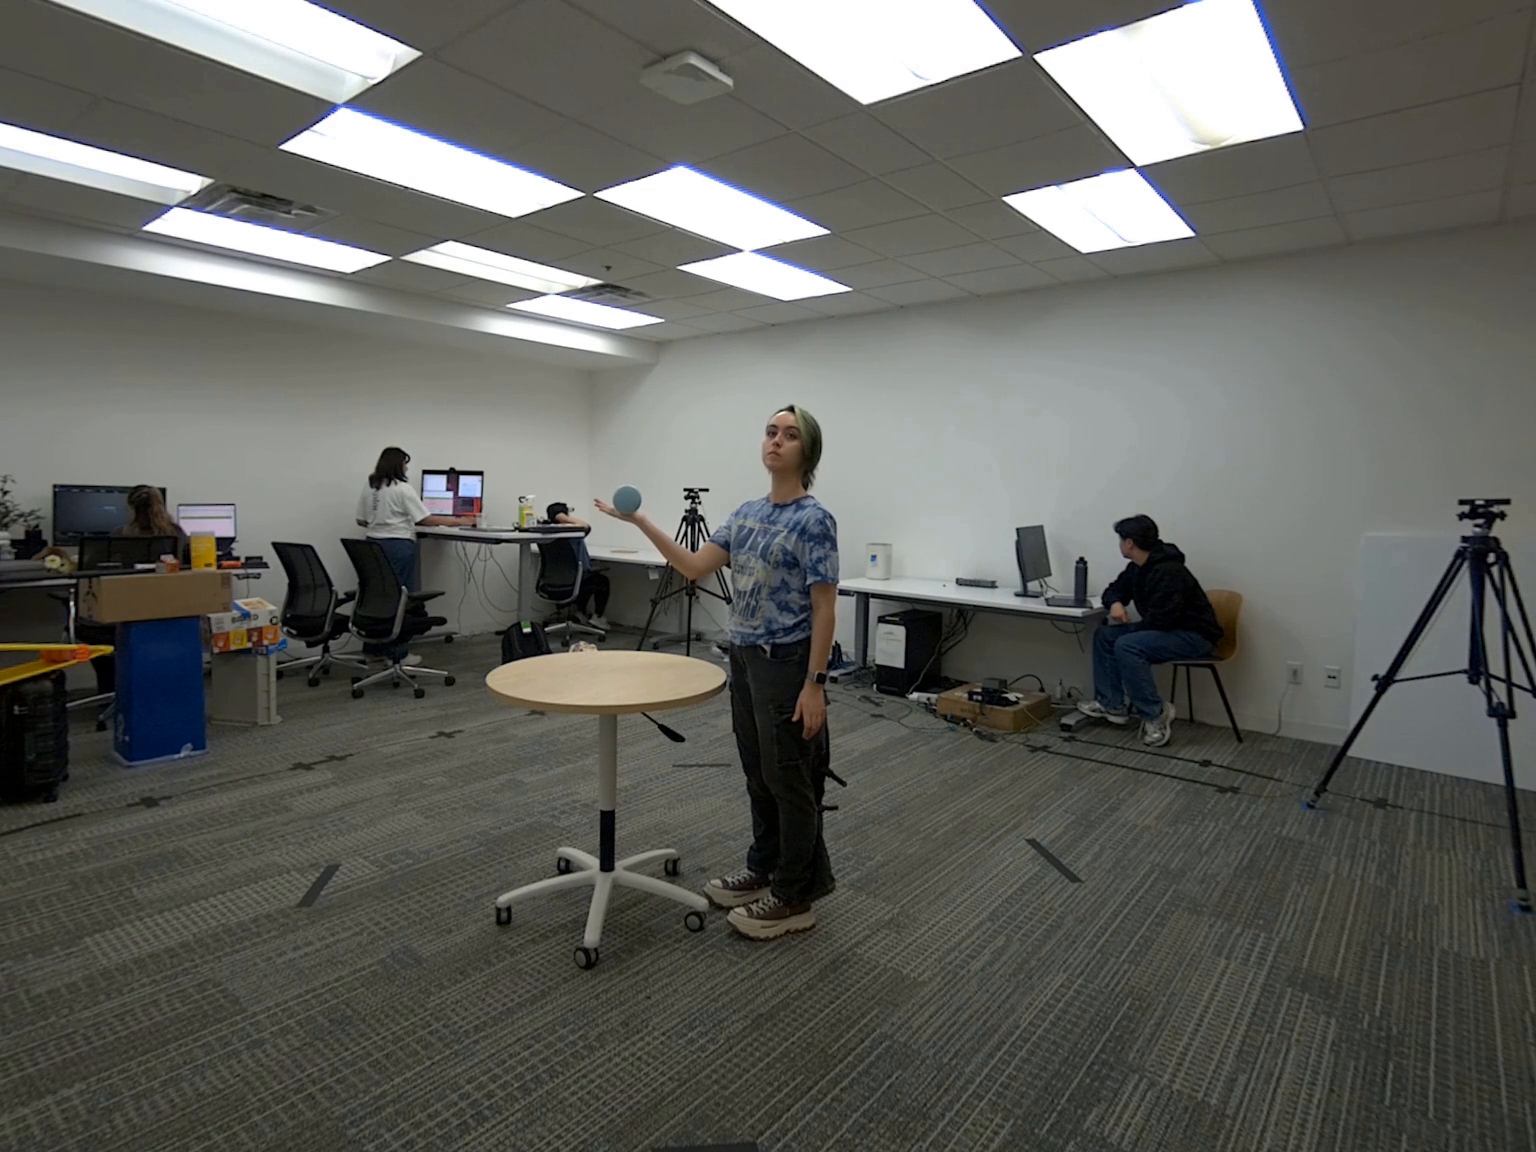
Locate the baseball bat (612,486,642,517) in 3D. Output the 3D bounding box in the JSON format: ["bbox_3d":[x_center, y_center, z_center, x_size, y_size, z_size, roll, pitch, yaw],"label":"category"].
[{"bbox_3d":[-0.493,-0.246,2.767,0.088,0.089,0.552,0,4,-15],"label":"baseball bat"}]
